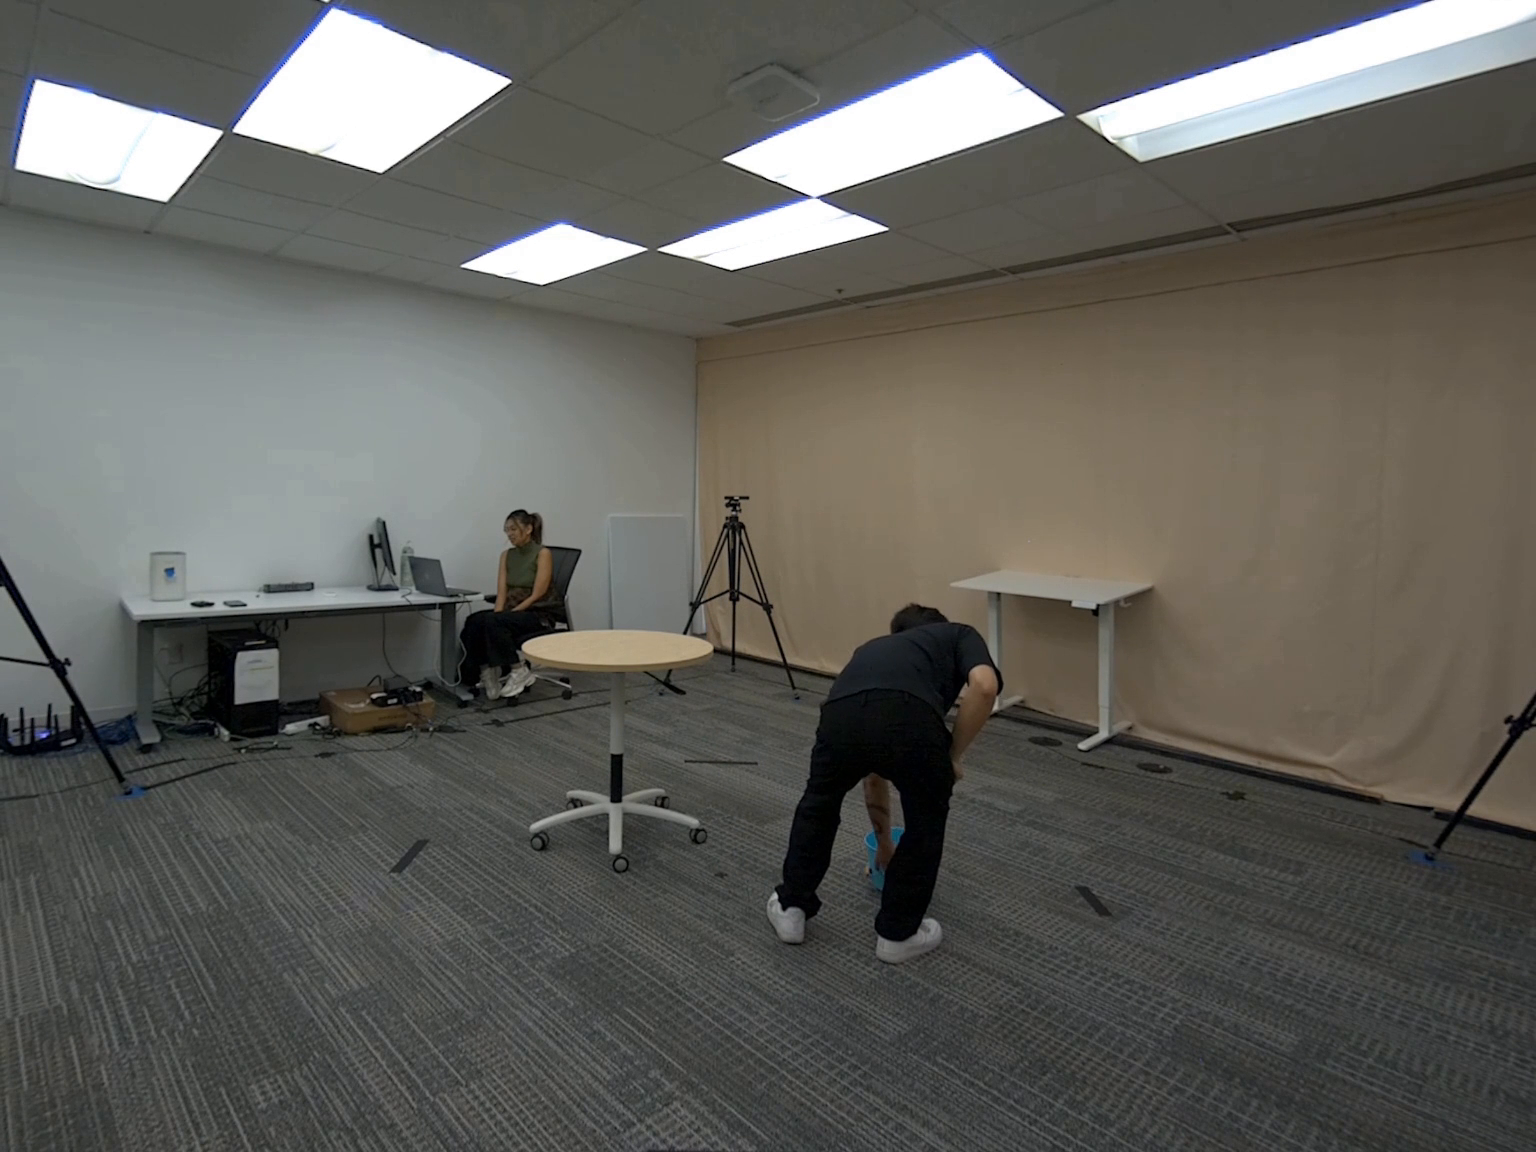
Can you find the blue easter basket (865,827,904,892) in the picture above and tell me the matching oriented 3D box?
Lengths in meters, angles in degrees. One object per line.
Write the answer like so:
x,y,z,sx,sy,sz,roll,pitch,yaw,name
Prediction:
0.458,1.011,2.998,0.243,0.155,0.245,0,6,-1,blue easter basket
